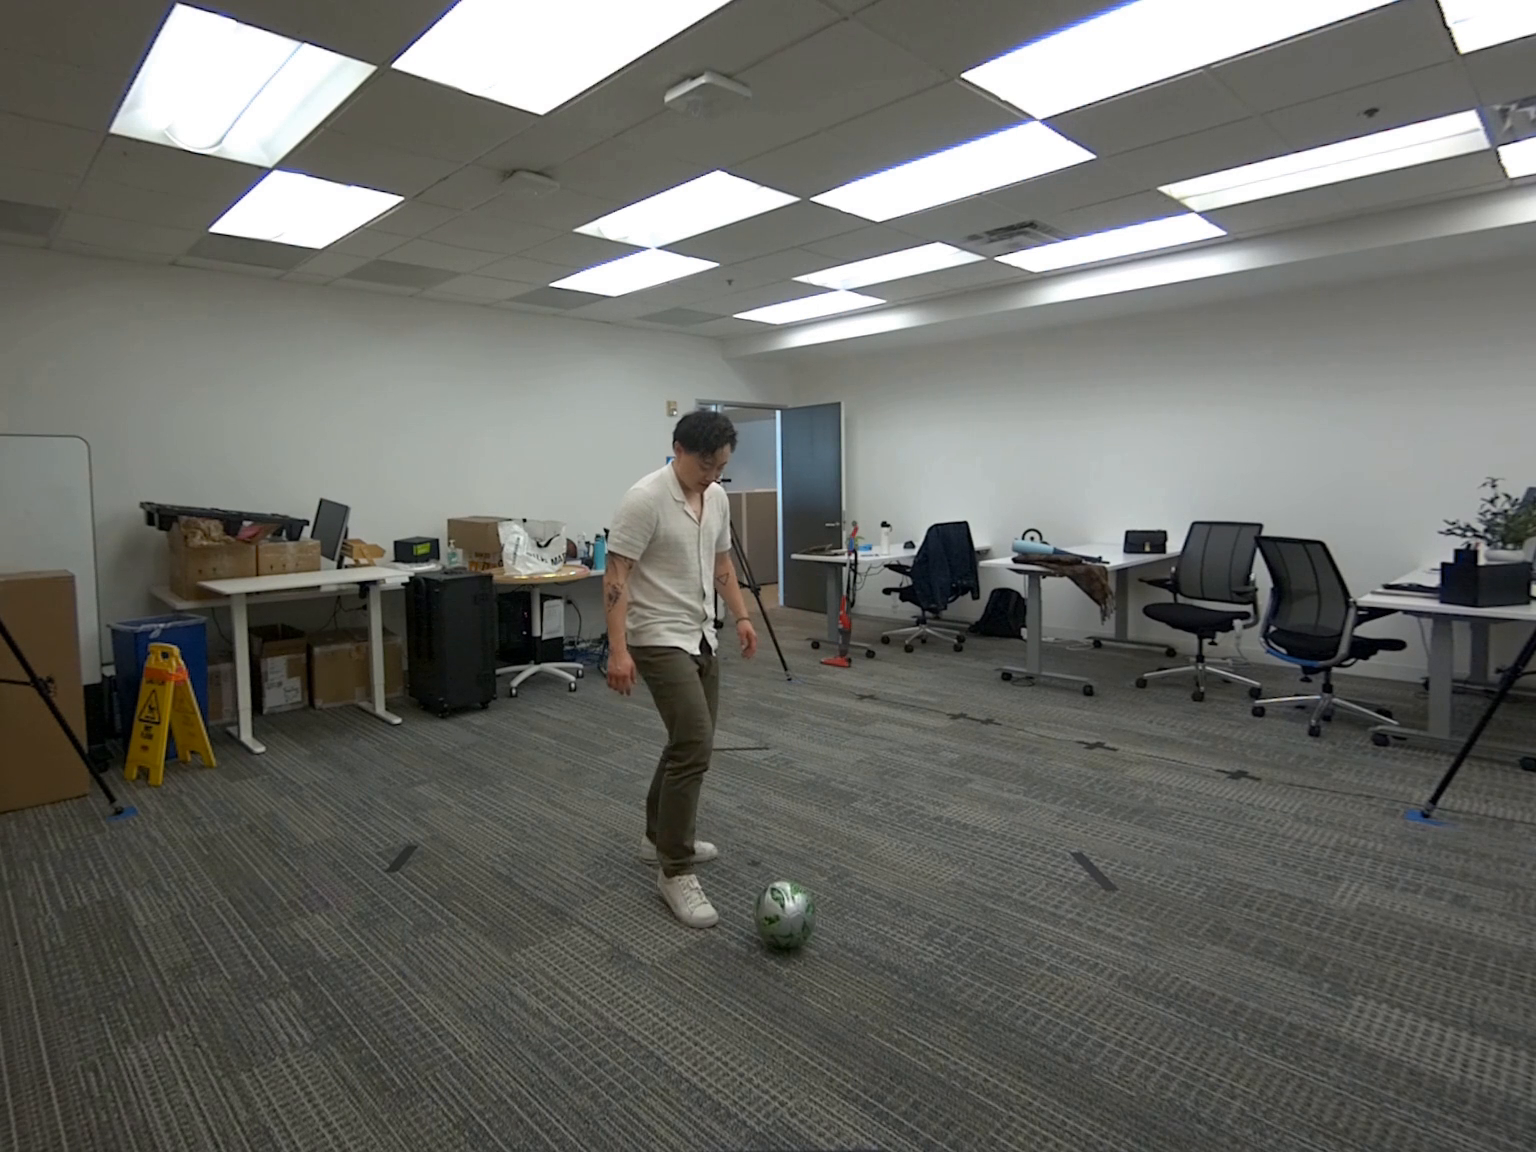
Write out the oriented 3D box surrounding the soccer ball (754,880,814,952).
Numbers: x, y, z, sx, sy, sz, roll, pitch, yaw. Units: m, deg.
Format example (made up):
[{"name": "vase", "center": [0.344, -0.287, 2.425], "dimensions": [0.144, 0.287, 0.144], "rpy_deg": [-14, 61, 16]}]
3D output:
[{"name": "soccer ball", "center": [0.049, 1.019, 2.563], "dimensions": [0.187, 0.187, 0.188], "rpy_deg": [-1, 5, -2]}]
